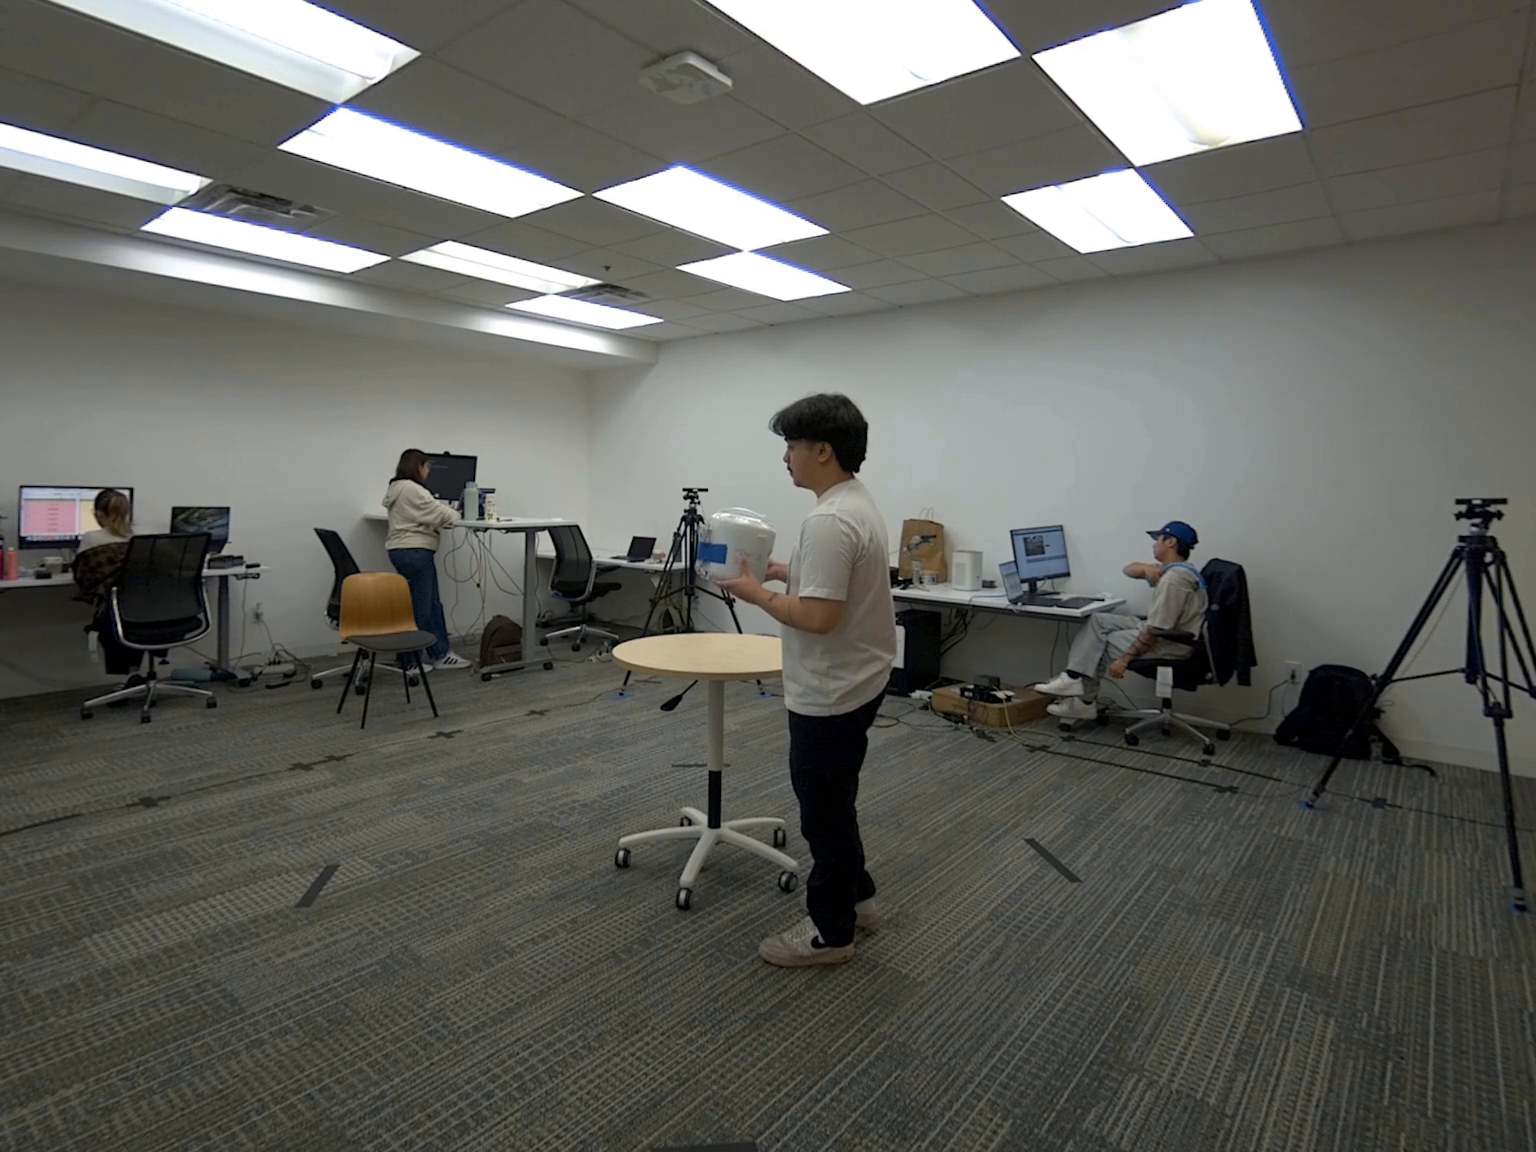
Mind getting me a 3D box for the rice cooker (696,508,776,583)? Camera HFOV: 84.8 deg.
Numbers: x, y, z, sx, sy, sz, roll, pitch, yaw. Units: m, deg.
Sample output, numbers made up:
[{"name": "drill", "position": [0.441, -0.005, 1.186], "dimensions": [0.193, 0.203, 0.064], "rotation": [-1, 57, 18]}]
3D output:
[{"name": "rice cooker", "position": [-0.105, -0.093, 2.611], "dimensions": [0.224, 0.232, 0.214], "rotation": [13, 4, 12]}]
